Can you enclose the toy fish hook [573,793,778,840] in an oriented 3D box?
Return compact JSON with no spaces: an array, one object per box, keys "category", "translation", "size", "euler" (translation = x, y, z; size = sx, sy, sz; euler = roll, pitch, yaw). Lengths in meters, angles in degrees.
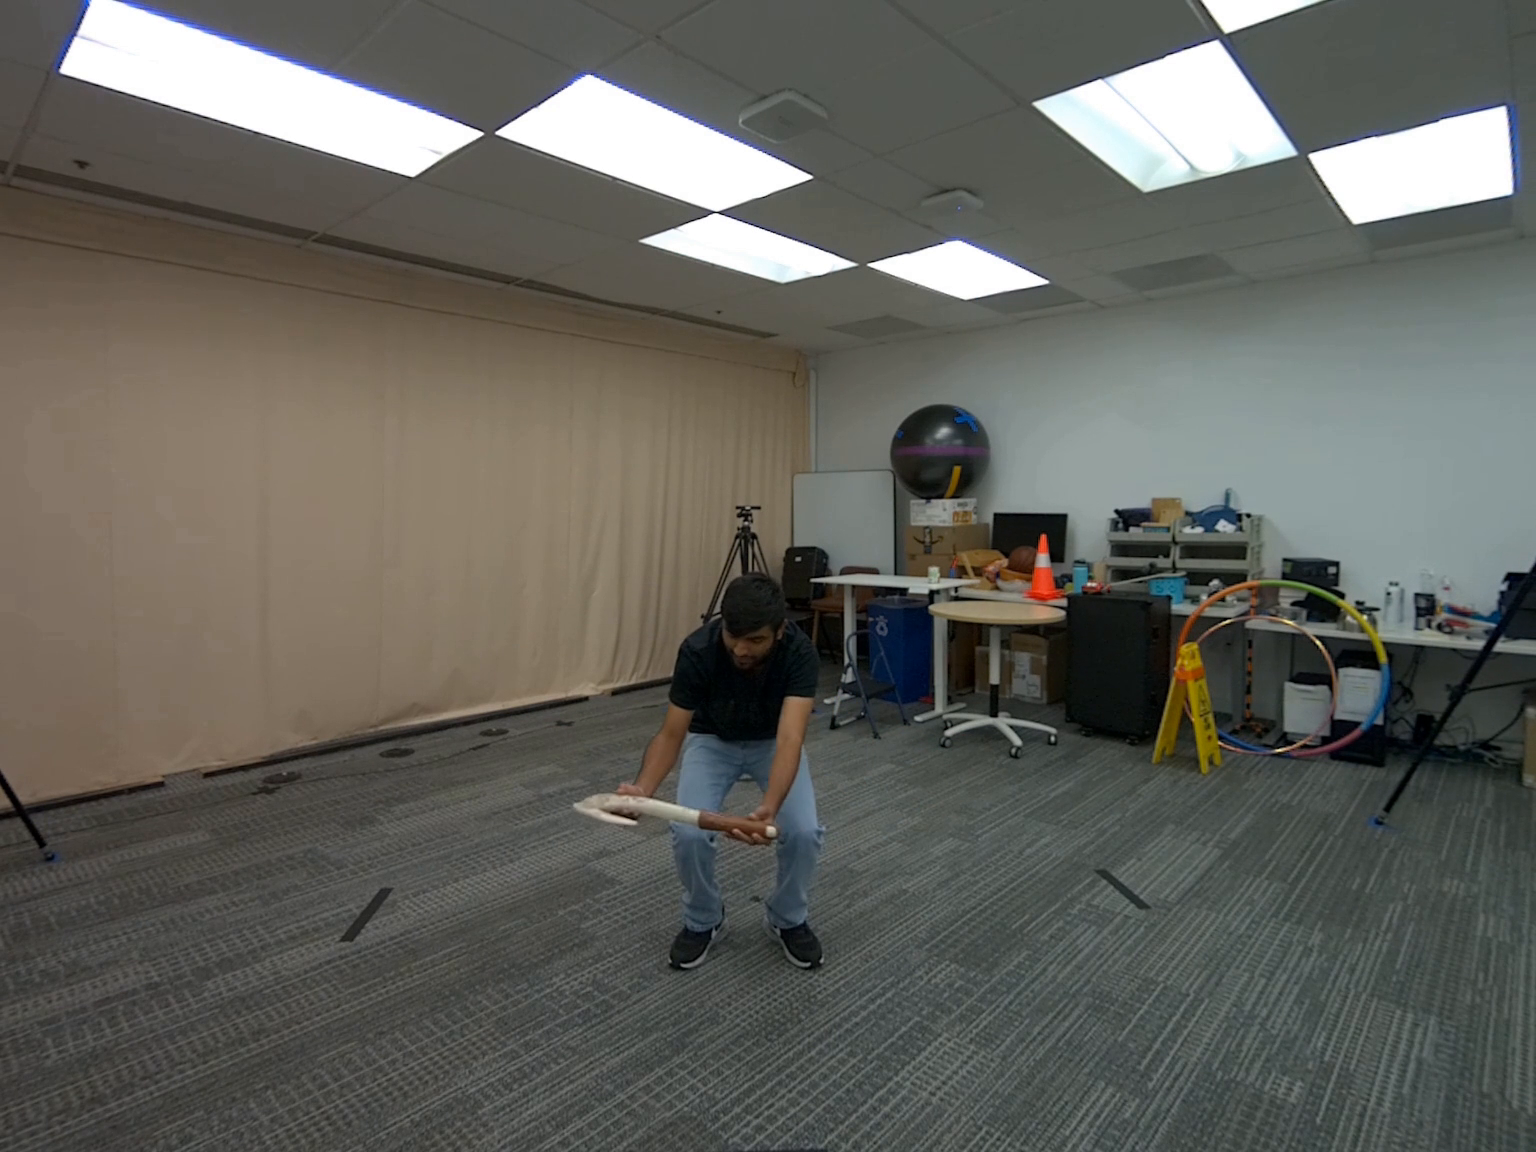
[{"category":"toy fish hook","translation":[-0.209,0.583,2.036],"size":[0.517,0.048,0.220],"euler":[3,-1,19]}]
